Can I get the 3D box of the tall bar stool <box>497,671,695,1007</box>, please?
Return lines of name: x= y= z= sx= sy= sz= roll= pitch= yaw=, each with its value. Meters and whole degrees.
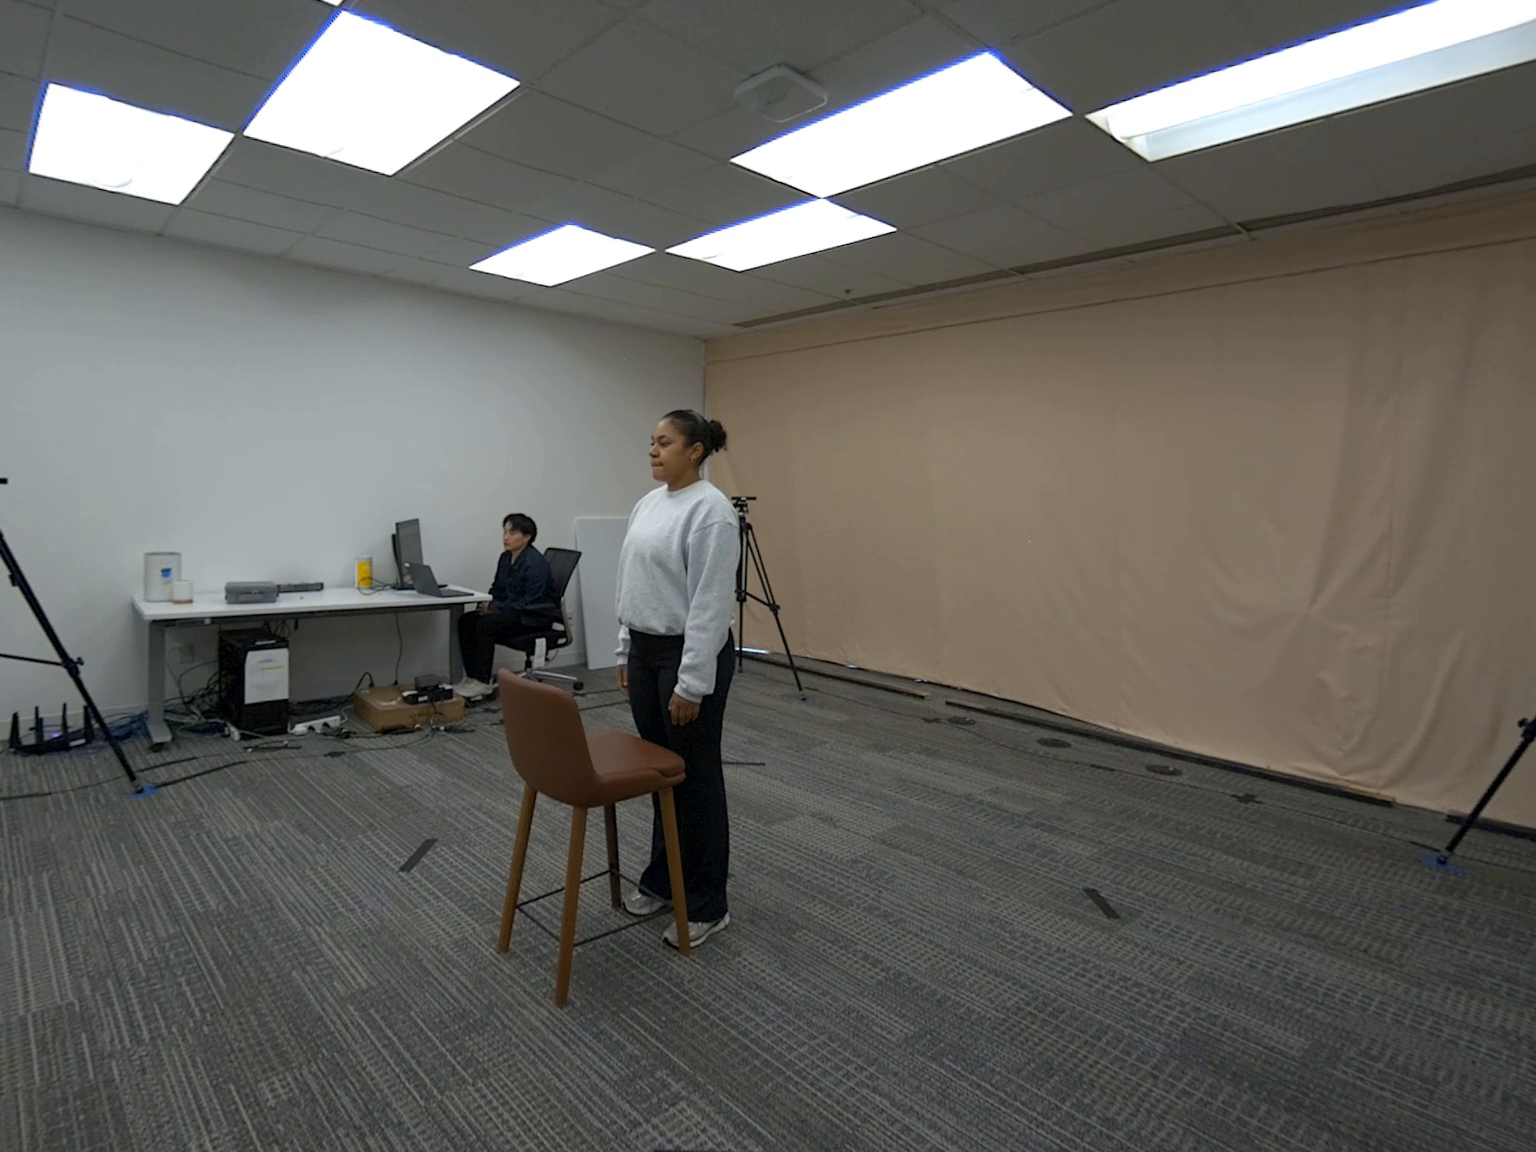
tall bar stool: x=-0.538 y=0.711 z=2.537 sx=0.457 sy=0.887 sz=0.468 roll=-5 pitch=6 yaw=-42
